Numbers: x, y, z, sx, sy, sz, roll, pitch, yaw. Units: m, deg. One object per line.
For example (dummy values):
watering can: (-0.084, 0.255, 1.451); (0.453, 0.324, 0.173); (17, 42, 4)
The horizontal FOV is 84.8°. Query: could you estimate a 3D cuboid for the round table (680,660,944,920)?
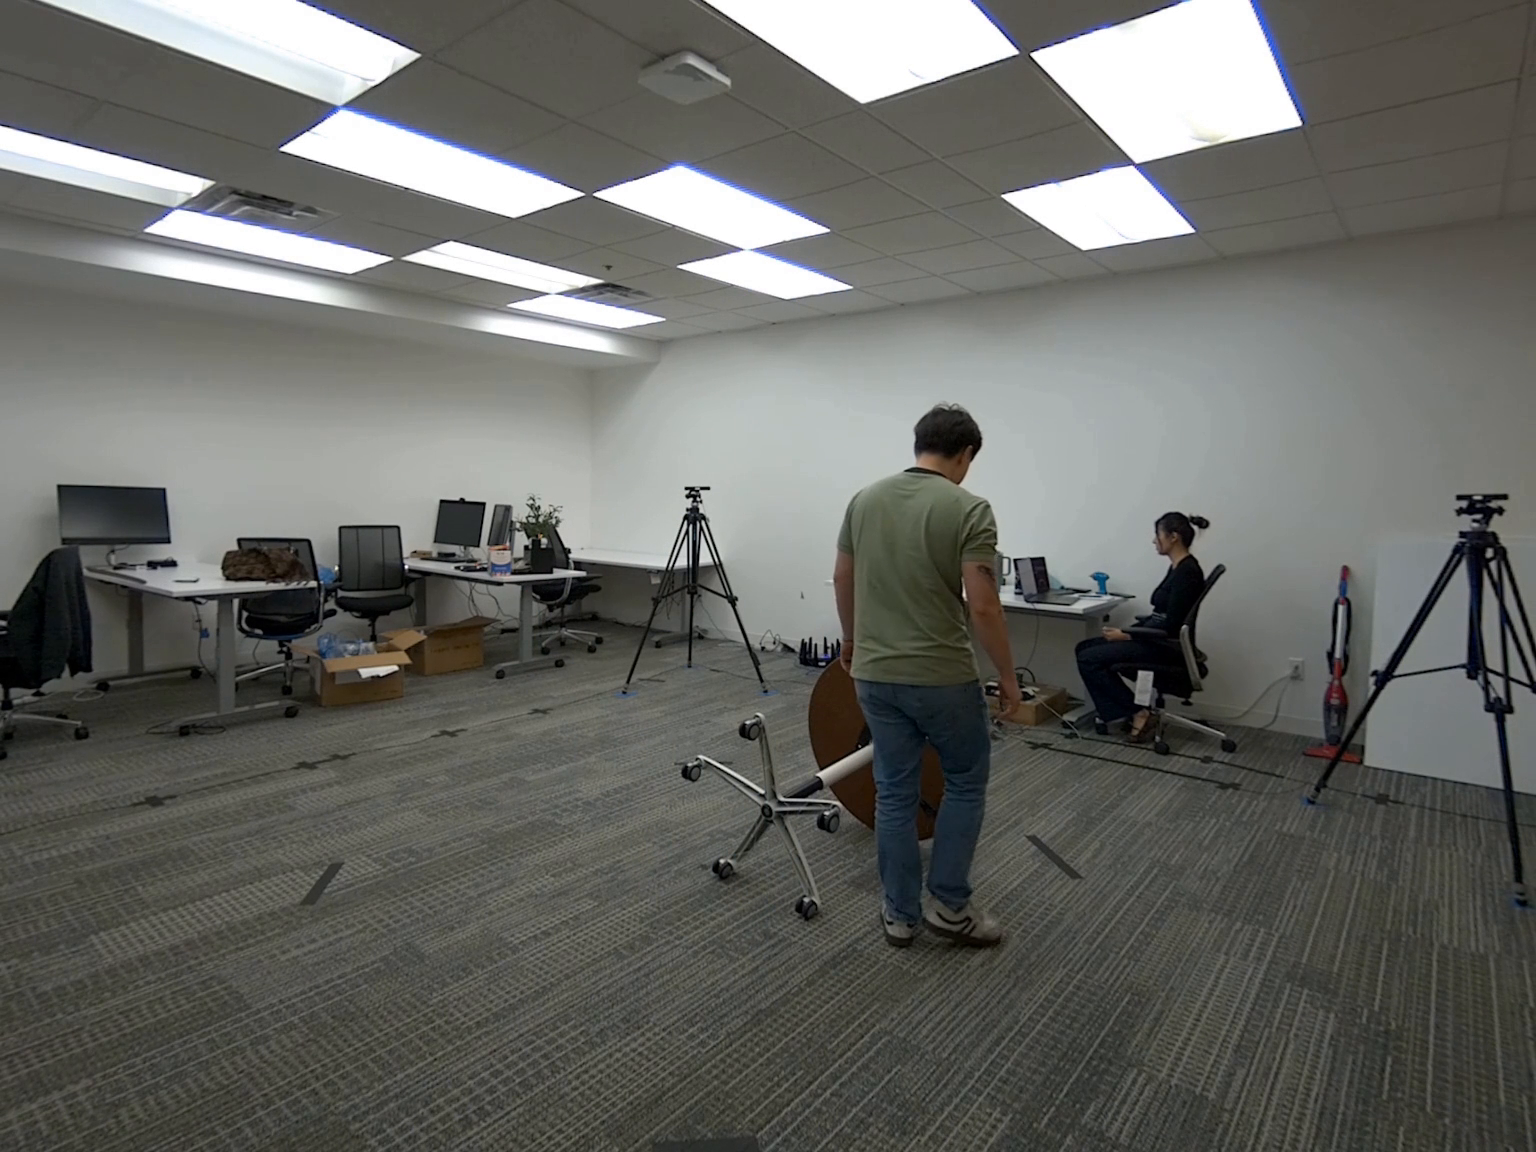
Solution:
round table: (0.189, 0.740, 3.125); (0.790, 0.757, 0.775); (5, 13, 43)
